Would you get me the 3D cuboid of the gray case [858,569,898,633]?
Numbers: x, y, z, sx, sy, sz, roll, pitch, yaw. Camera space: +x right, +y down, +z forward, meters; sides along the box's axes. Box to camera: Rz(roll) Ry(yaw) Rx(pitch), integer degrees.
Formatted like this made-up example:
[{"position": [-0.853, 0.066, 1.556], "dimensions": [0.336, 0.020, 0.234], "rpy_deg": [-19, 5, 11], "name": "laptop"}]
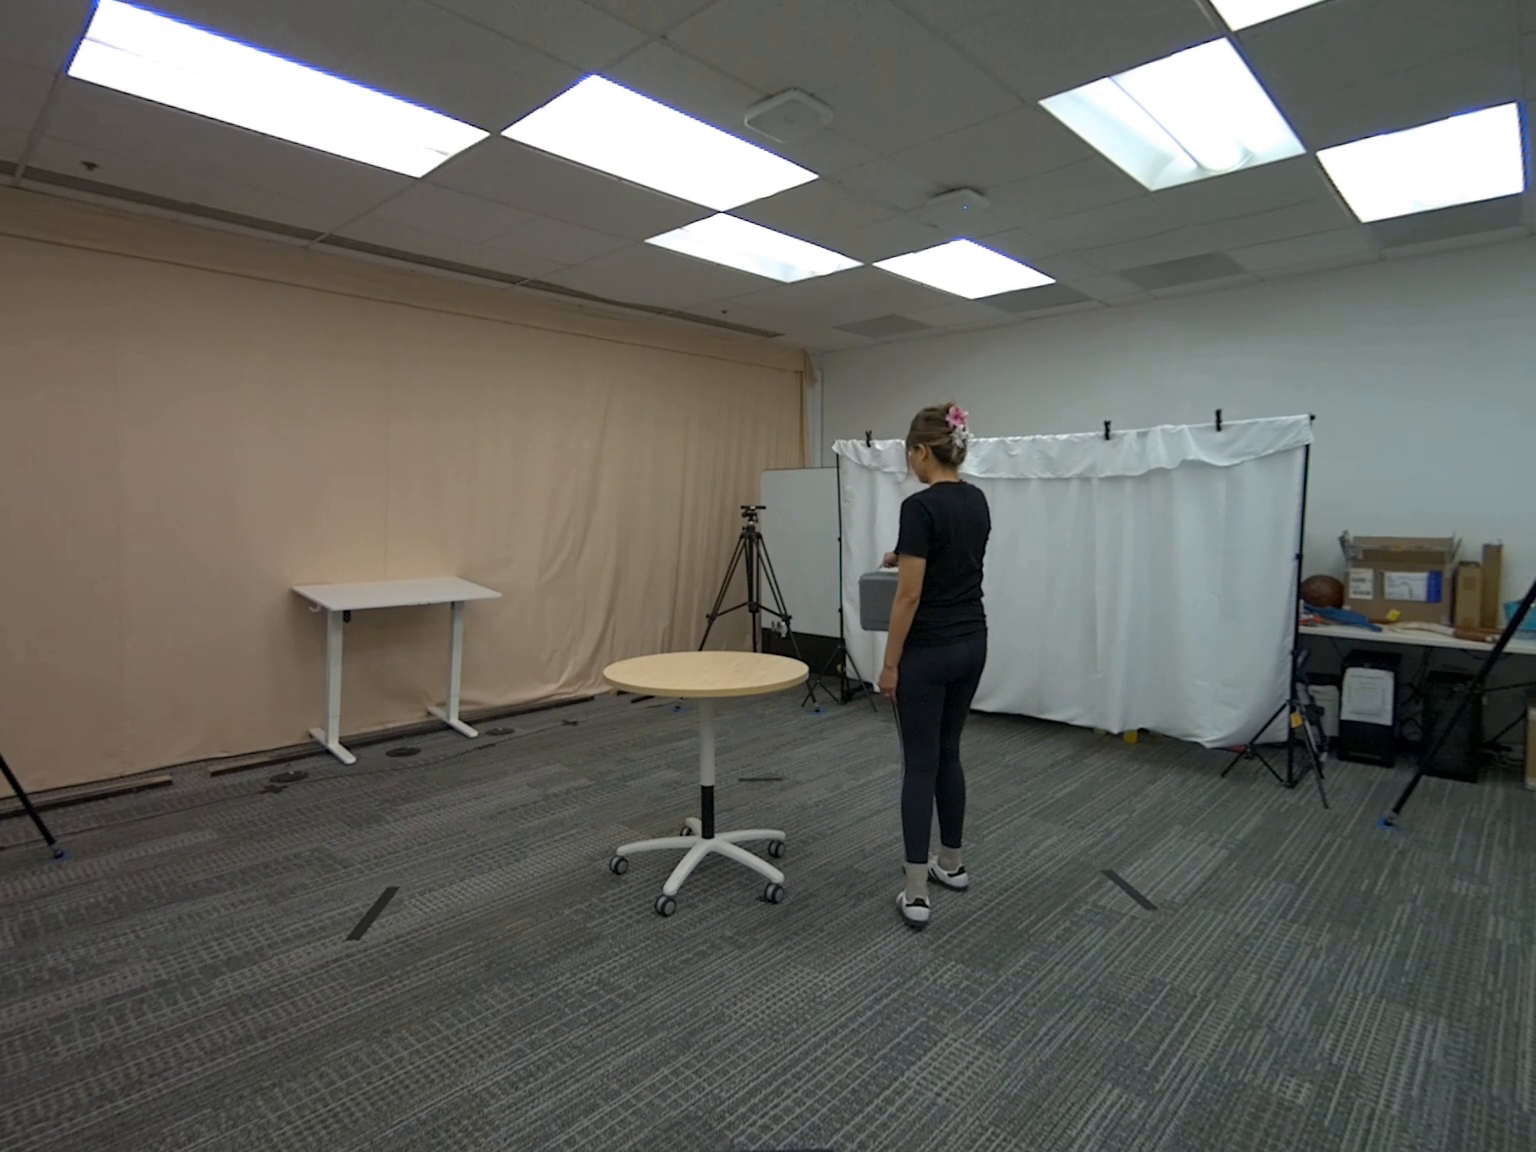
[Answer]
[{"position": [0.526, 0.107, 3.594], "dimensions": [0.262, 0.258, 0.103], "rpy_deg": [2, 15, 18], "name": "gray case"}]
